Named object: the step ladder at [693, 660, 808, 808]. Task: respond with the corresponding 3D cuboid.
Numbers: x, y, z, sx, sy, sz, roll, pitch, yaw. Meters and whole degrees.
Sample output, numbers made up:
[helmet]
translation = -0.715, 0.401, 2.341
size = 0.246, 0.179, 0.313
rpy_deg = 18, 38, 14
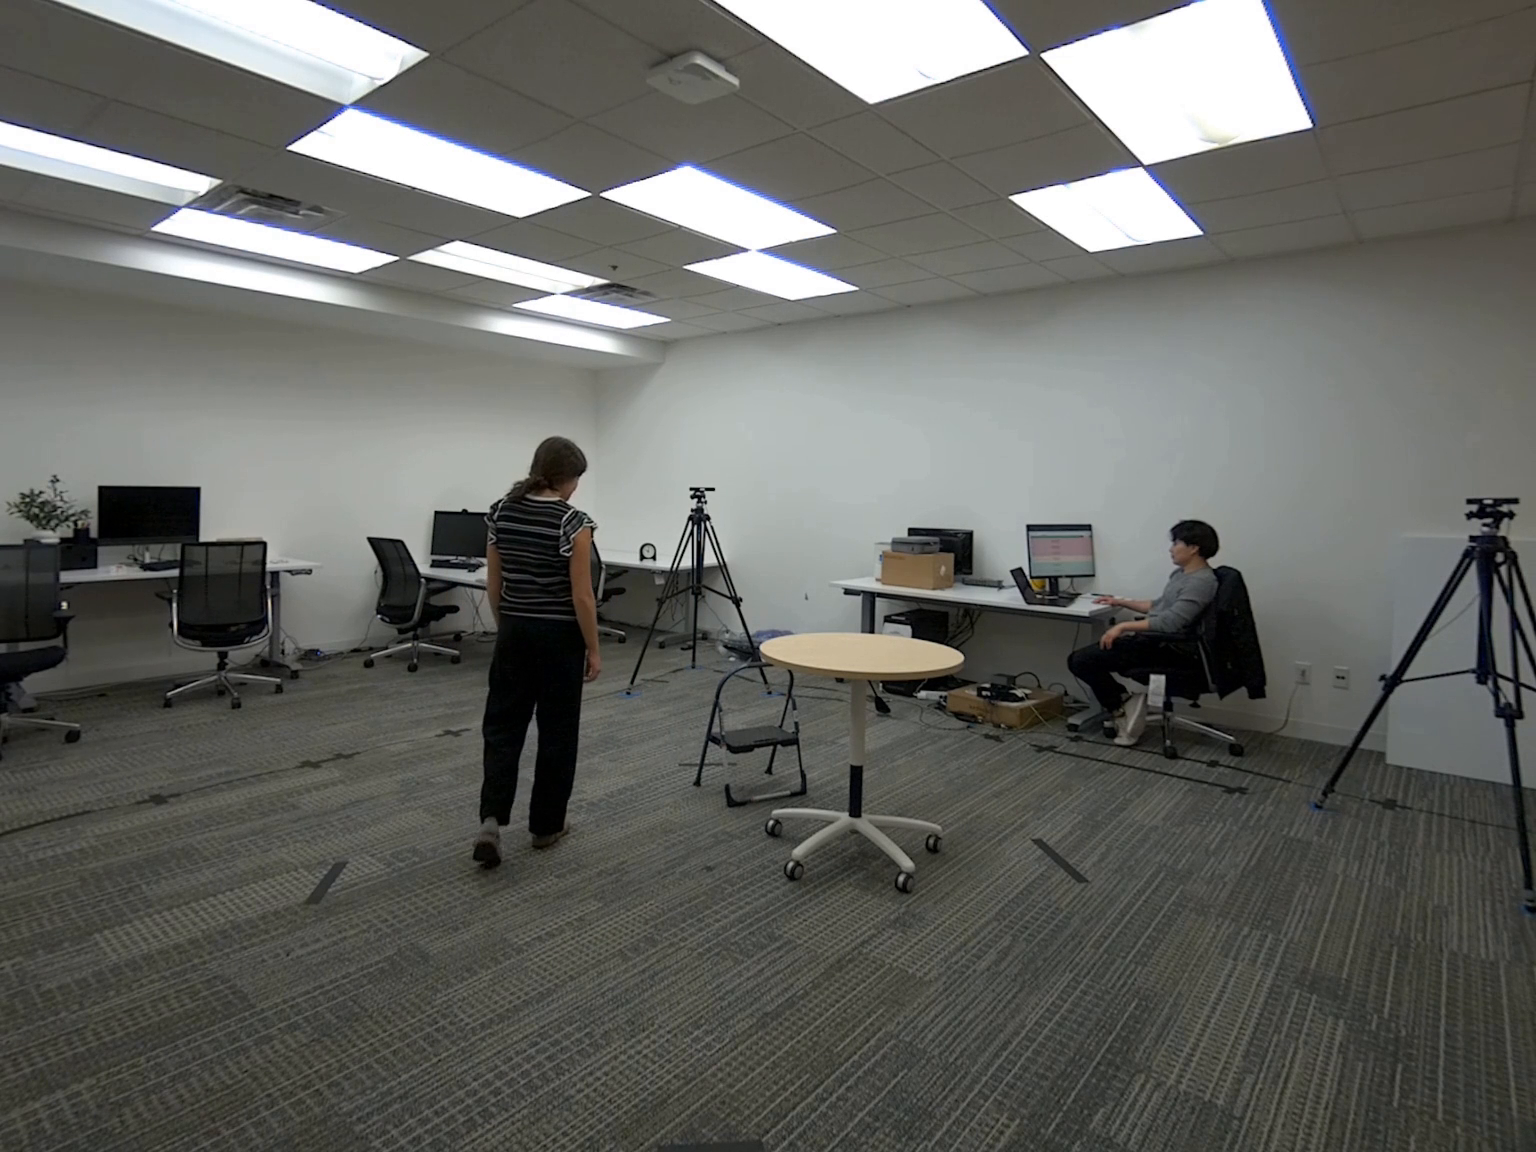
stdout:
[step ladder]
translation = -0.091, 0.684, 3.938
size = 0.419, 0.604, 0.360
rpy_deg = -2, 4, -31
